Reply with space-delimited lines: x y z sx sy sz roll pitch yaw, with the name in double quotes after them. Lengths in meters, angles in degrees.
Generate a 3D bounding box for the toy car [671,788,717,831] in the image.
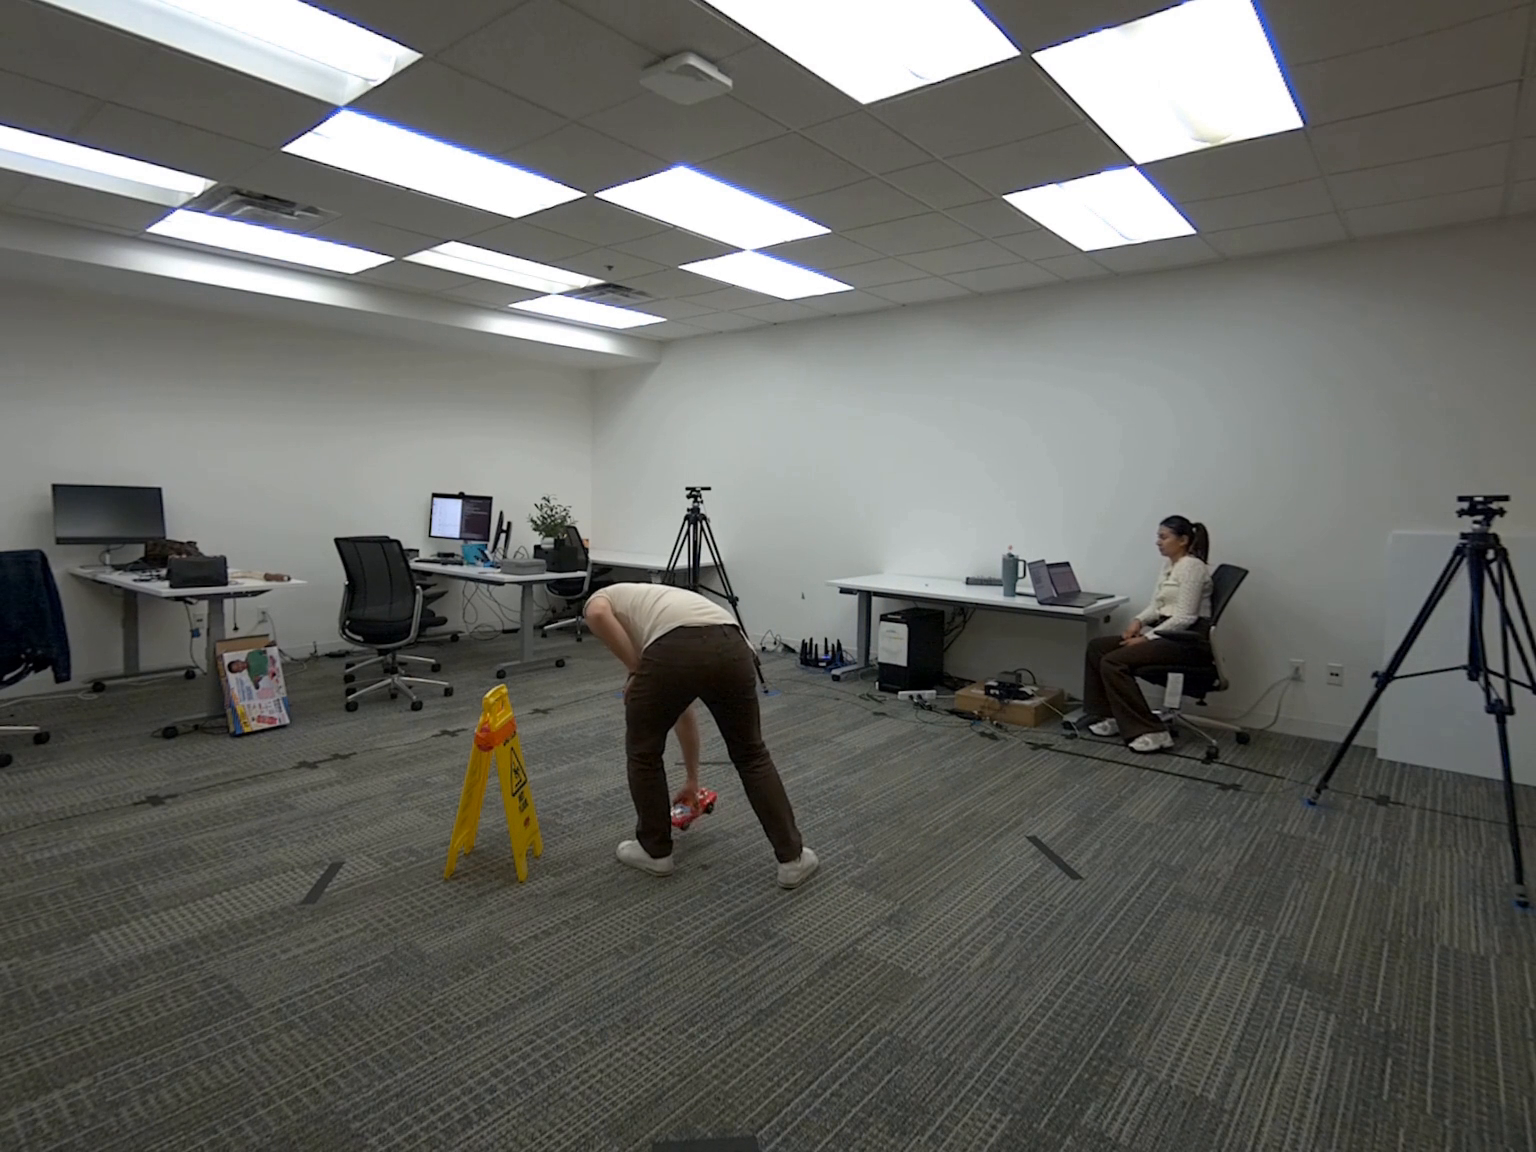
-0.315 0.918 3.374 0.135 0.081 0.252 6 30 36 "toy car"
